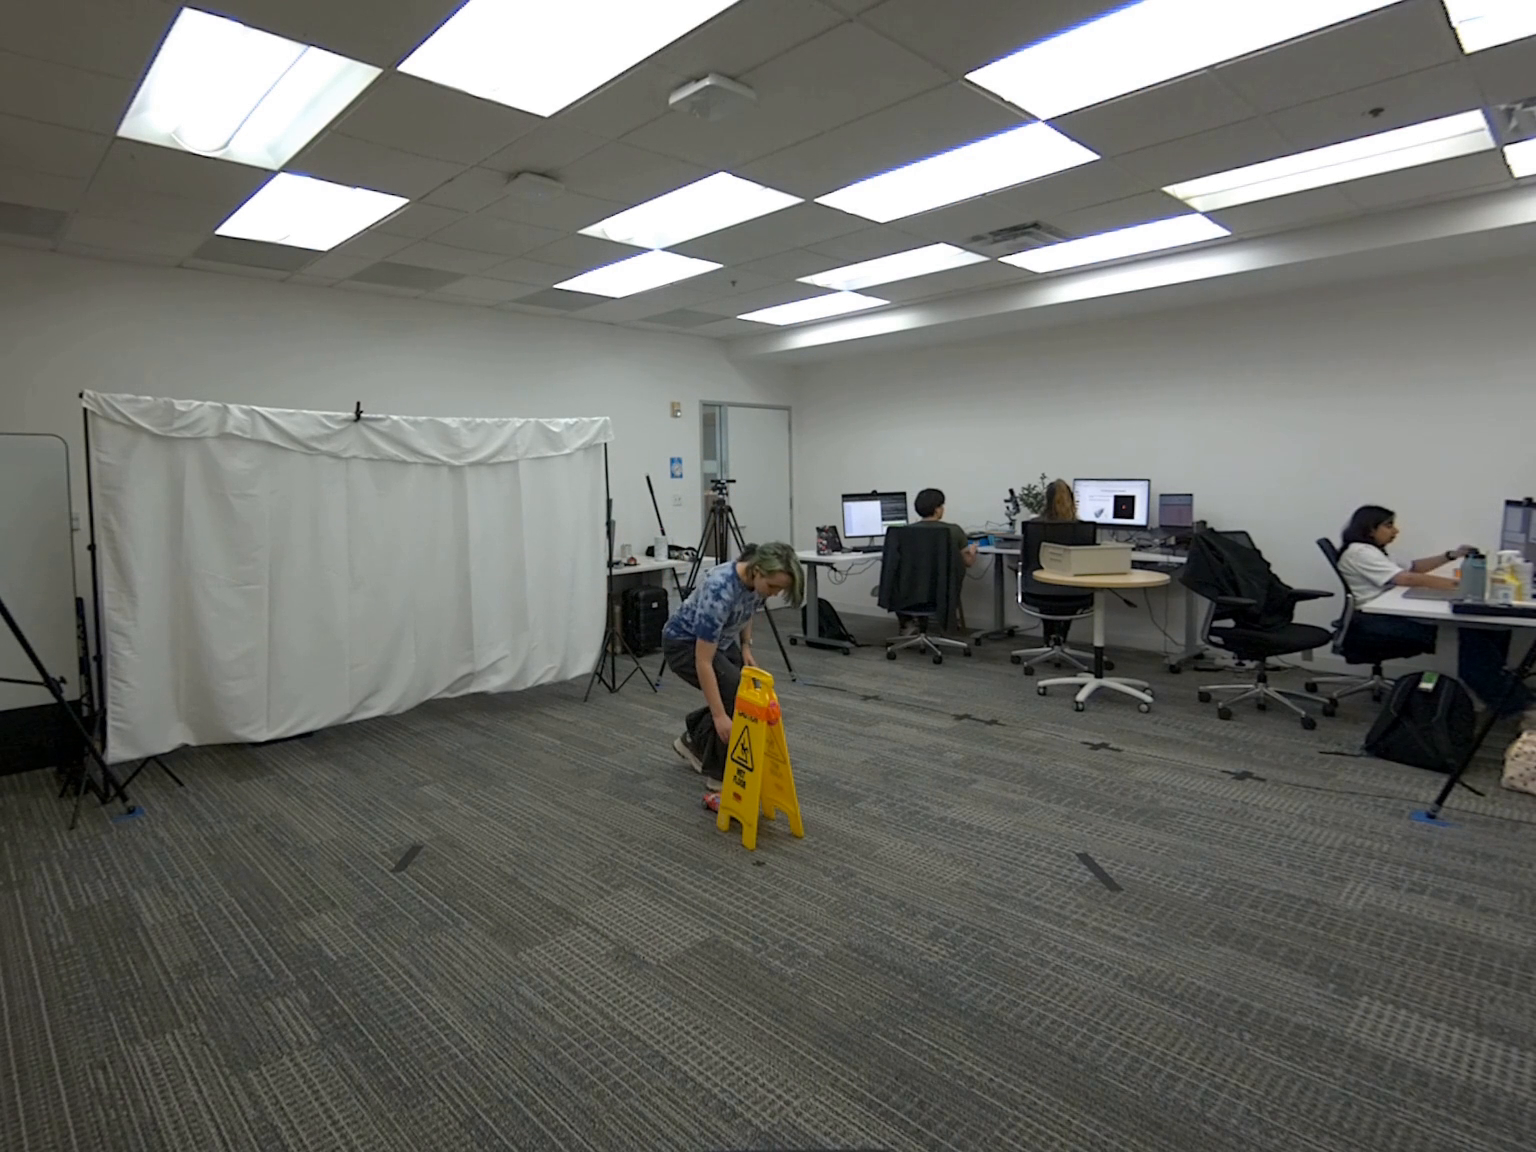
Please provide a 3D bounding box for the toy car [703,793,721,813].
[{"bbox_3d":[-0.178,0.975,3.593,0.127,0.083,0.259,-5,-3,-32],"label":"toy car"}]
